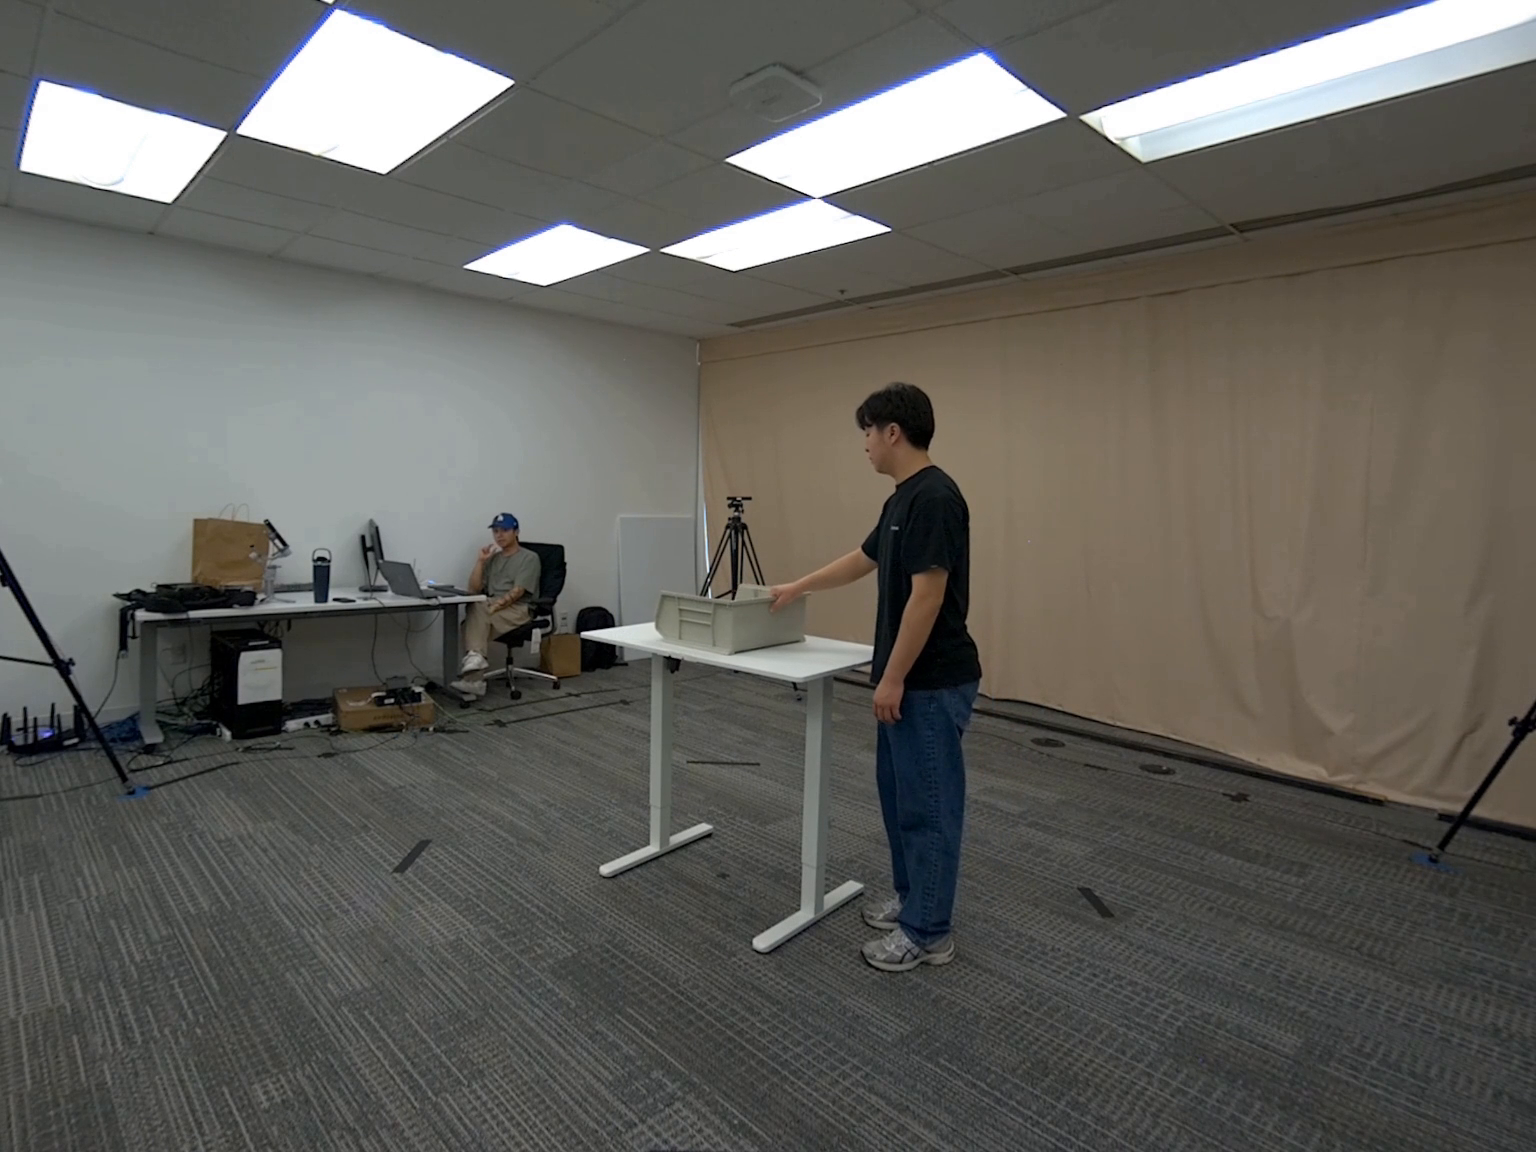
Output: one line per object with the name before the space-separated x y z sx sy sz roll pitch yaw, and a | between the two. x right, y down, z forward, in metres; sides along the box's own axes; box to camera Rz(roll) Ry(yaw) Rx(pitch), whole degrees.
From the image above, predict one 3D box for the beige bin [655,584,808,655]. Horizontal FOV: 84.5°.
beige bin | -0.127 0.147 2.993 0.387 0.188 0.413 7 7 41
